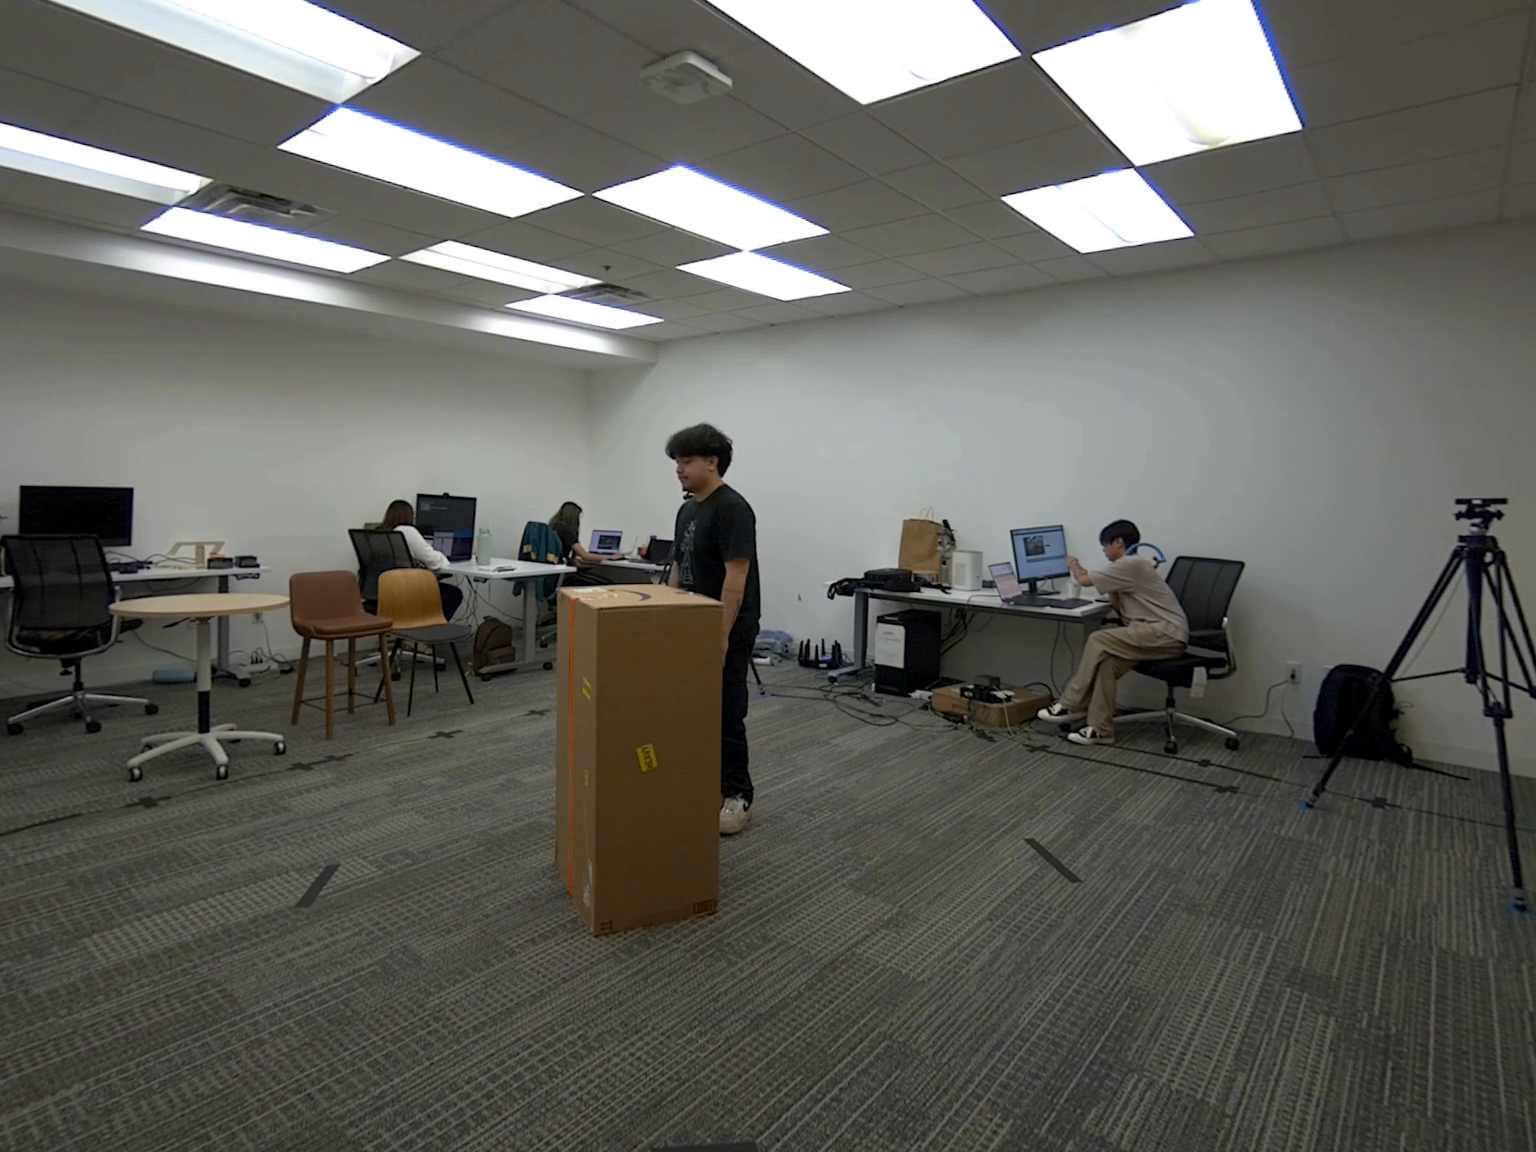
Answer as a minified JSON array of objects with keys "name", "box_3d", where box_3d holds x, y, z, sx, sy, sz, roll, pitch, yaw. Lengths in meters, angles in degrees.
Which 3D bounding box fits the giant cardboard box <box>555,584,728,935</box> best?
[{"name":"giant cardboard box","box_3d":[-0.478,0.568,2.940,0.436,1.024,0.599,-1,4,-25]}]
